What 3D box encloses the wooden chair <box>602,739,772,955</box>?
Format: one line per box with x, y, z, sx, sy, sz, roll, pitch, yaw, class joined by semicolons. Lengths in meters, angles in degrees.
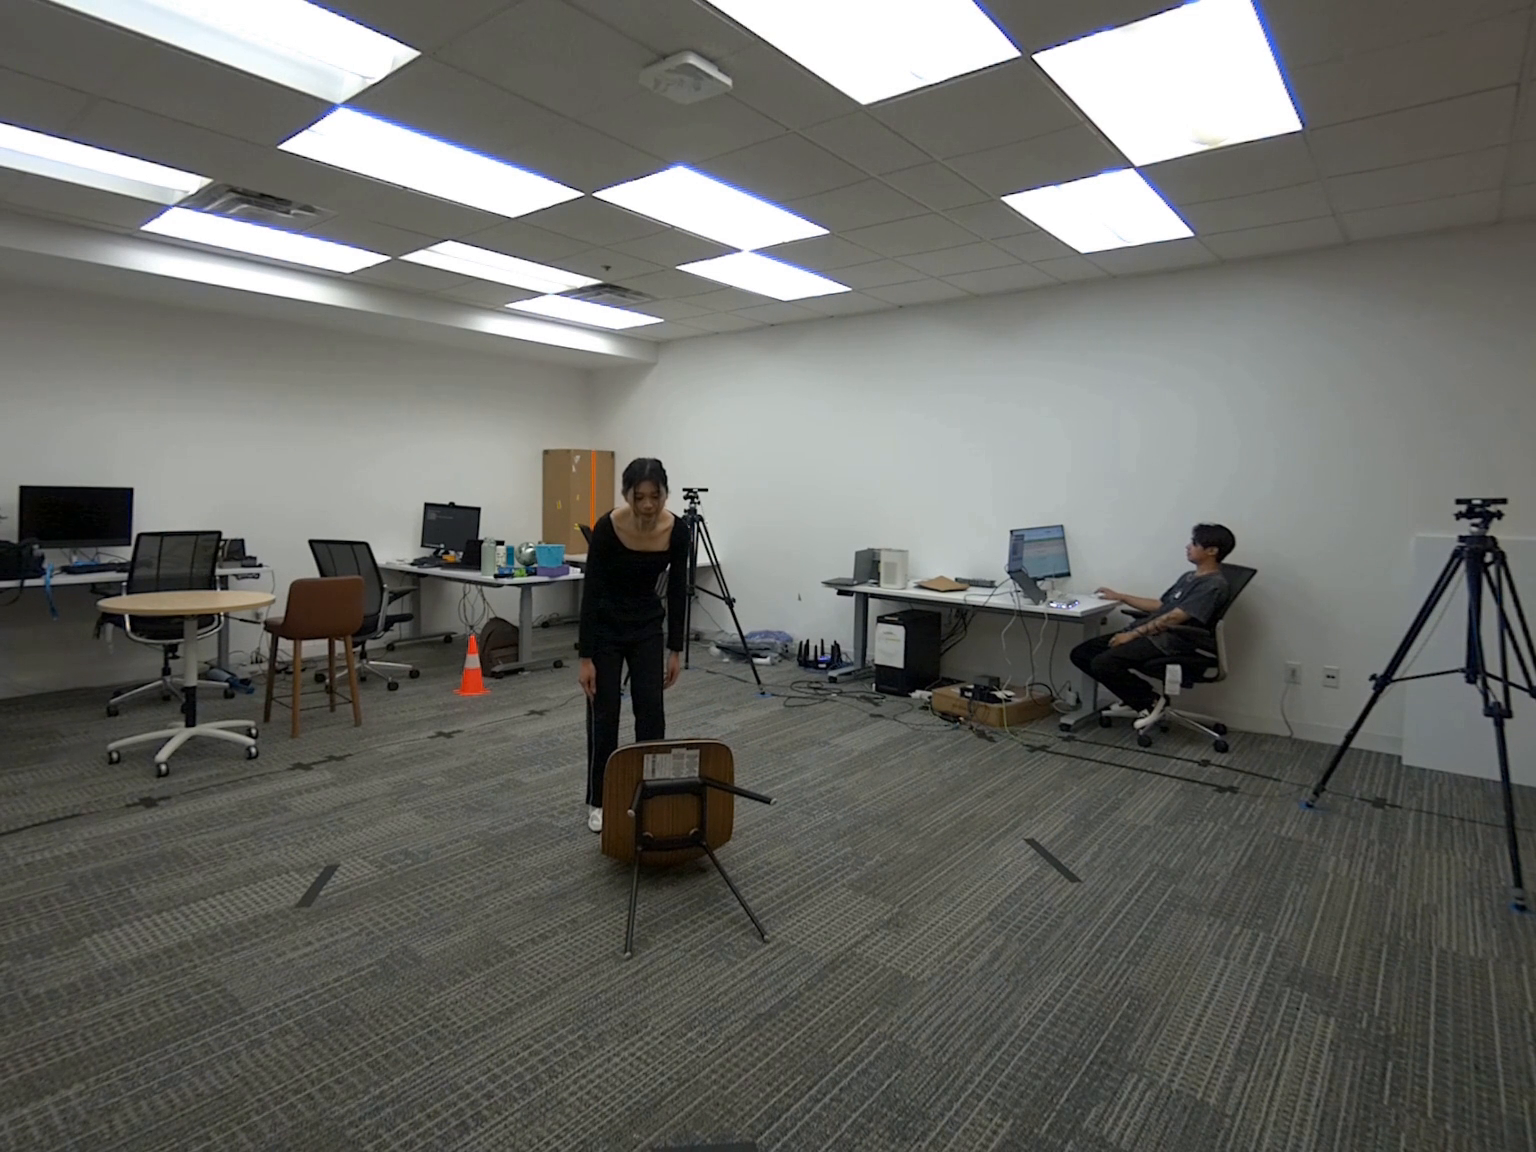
-0.344;0.822;2.943;0.470;0.522;0.895;0;4;-18;wooden chair
